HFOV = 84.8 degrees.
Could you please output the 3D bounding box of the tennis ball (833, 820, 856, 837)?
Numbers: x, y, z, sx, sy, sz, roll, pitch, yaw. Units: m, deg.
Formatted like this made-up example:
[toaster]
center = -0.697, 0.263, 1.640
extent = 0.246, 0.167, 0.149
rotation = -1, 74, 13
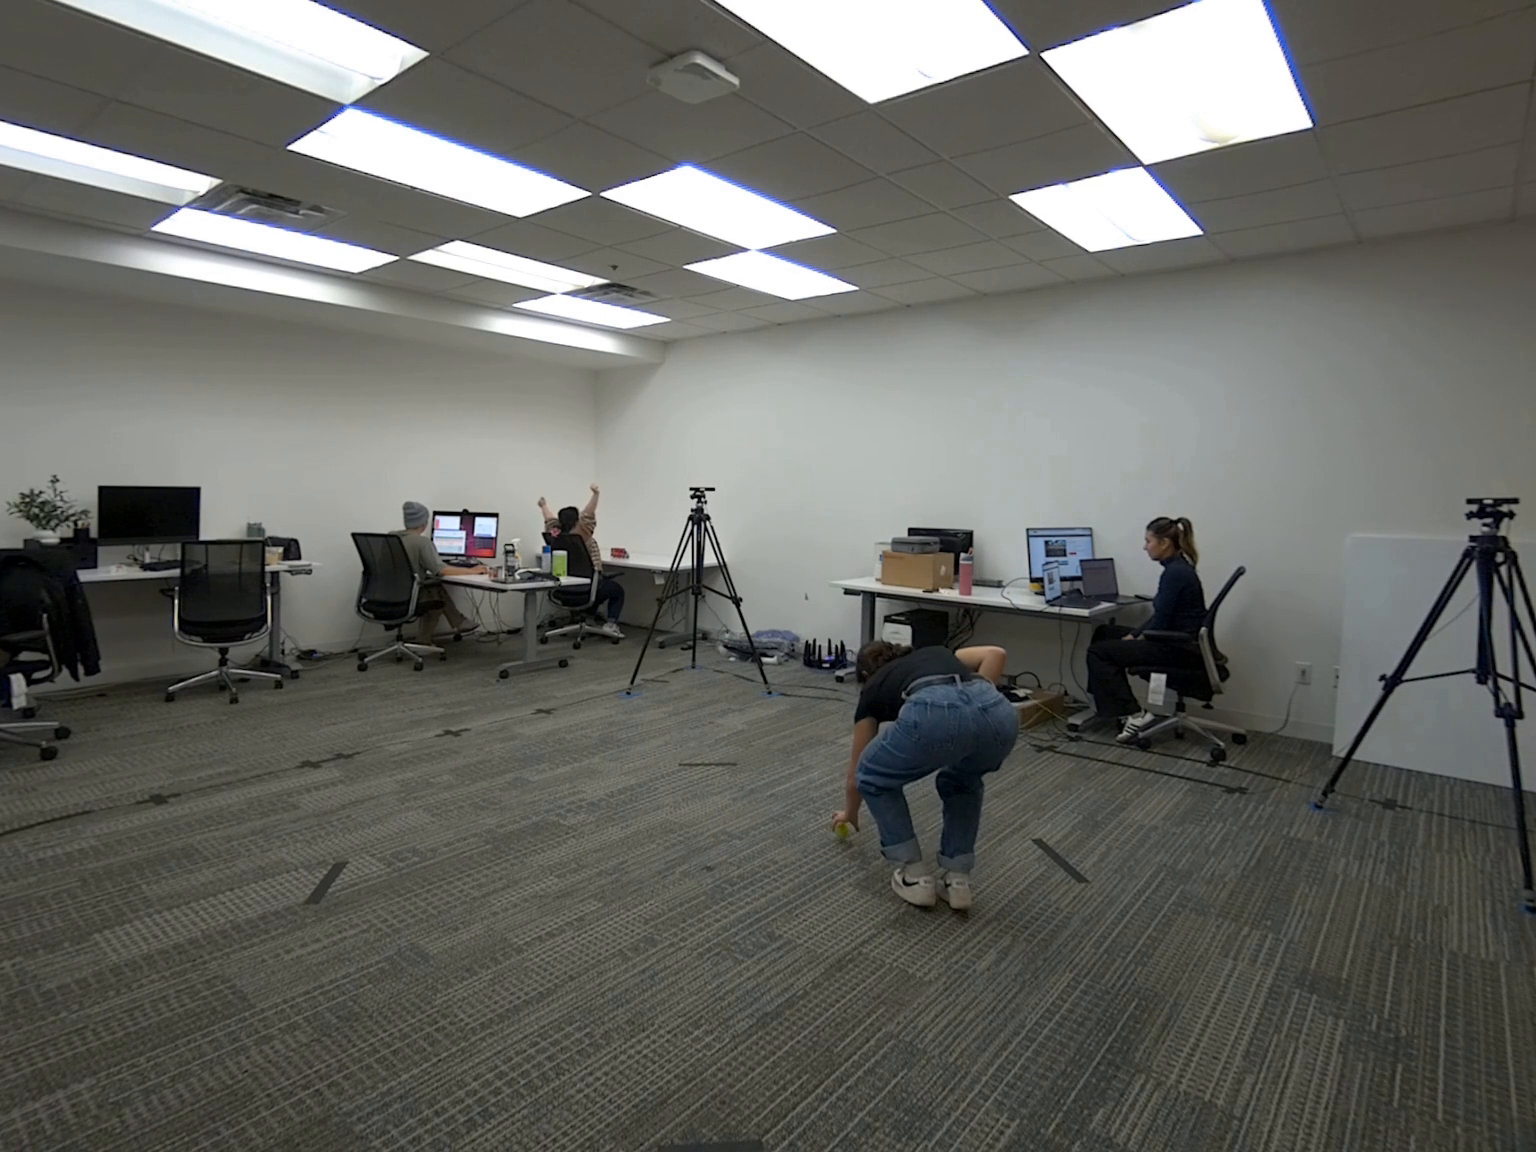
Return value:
[tennis ball]
center = 0.278, 0.965, 3.364
extent = 0.066, 0.066, 0.067
rotation = 1, 4, -2
